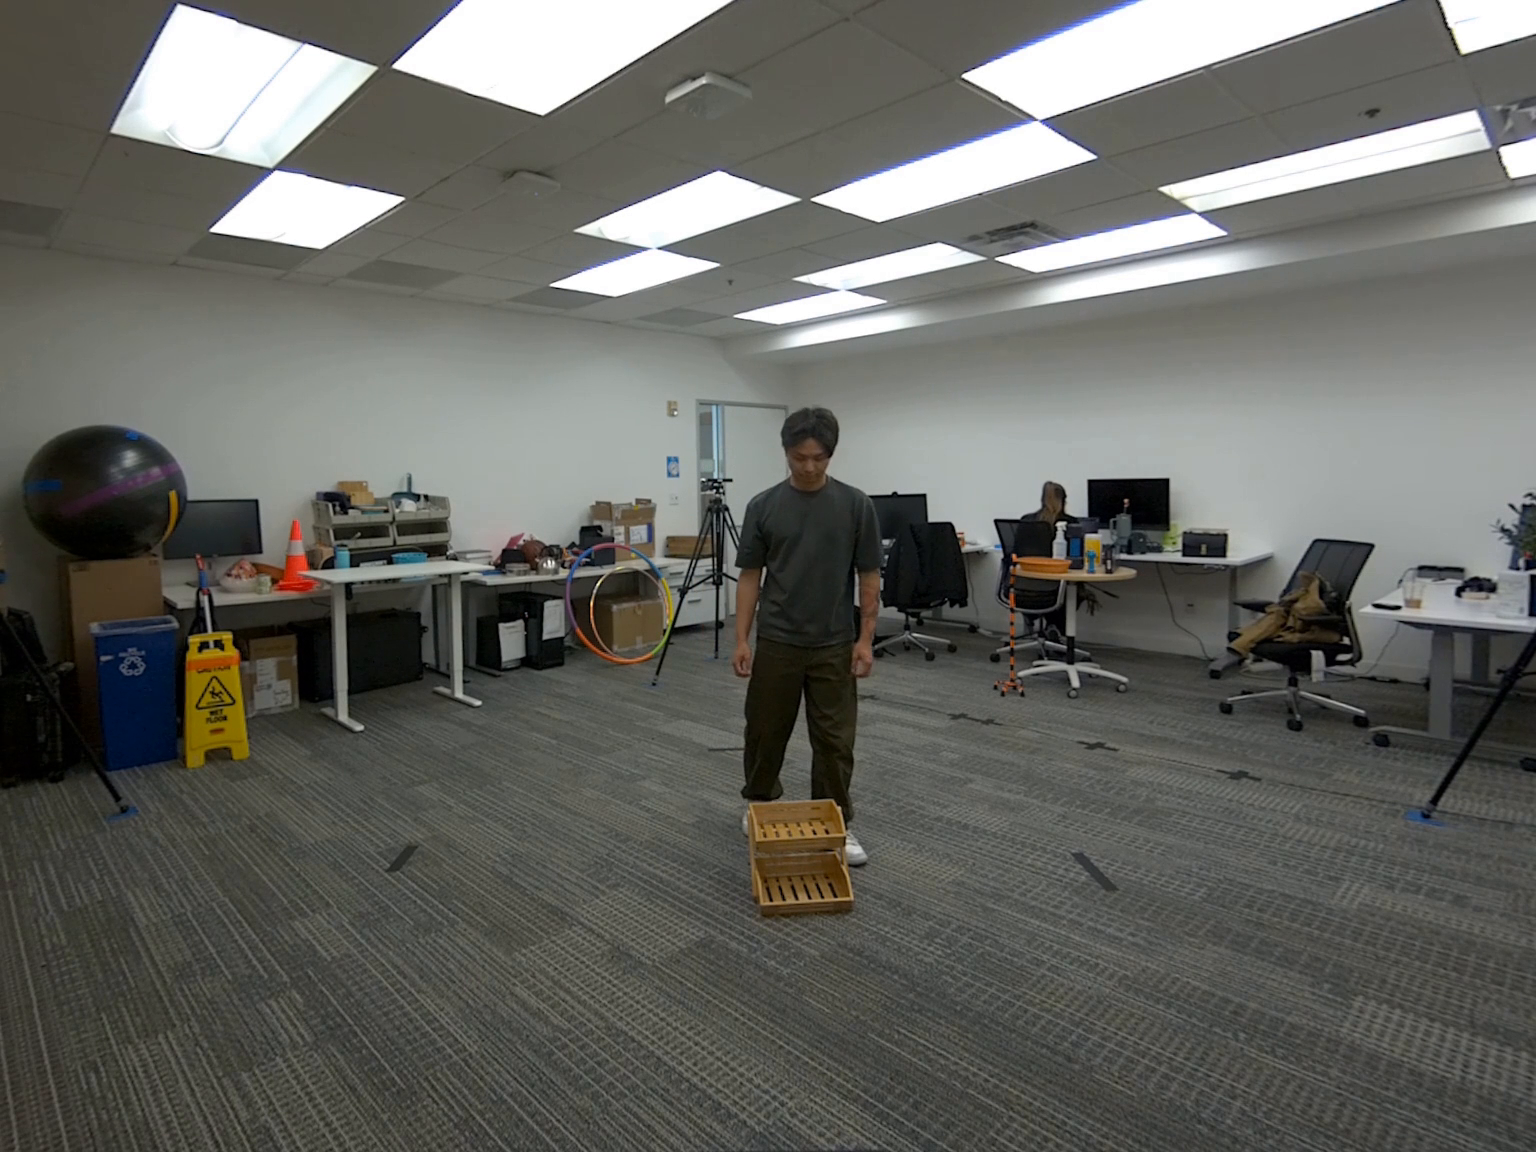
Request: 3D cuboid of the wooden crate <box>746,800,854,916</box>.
[{"bbox_3d":[0.108,0.939,2.861,0.322,0.272,0.305,-2,5,-7],"label":"wooden crate"}]
